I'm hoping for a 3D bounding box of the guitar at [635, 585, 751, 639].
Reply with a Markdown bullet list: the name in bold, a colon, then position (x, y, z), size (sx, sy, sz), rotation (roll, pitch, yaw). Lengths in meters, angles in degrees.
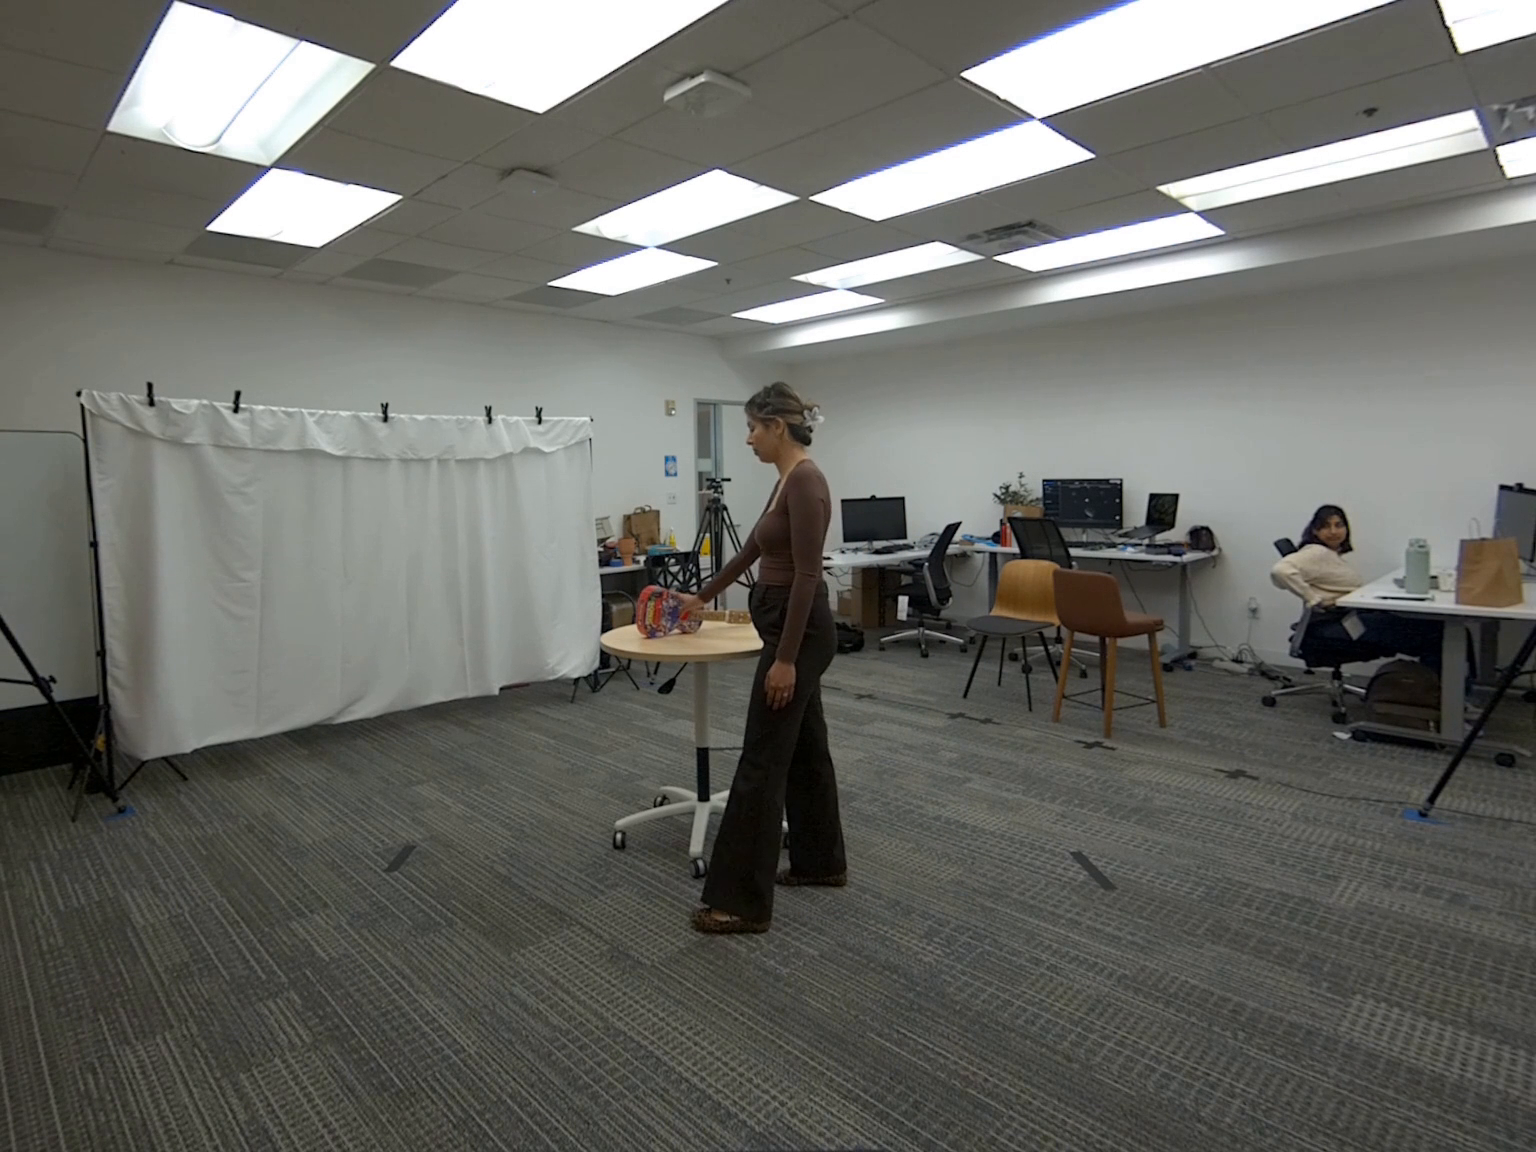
- **guitar**: position (-0.284, 0.179, 3.357), size (0.482, 0.194, 0.072), rotation (16, -6, -31)
